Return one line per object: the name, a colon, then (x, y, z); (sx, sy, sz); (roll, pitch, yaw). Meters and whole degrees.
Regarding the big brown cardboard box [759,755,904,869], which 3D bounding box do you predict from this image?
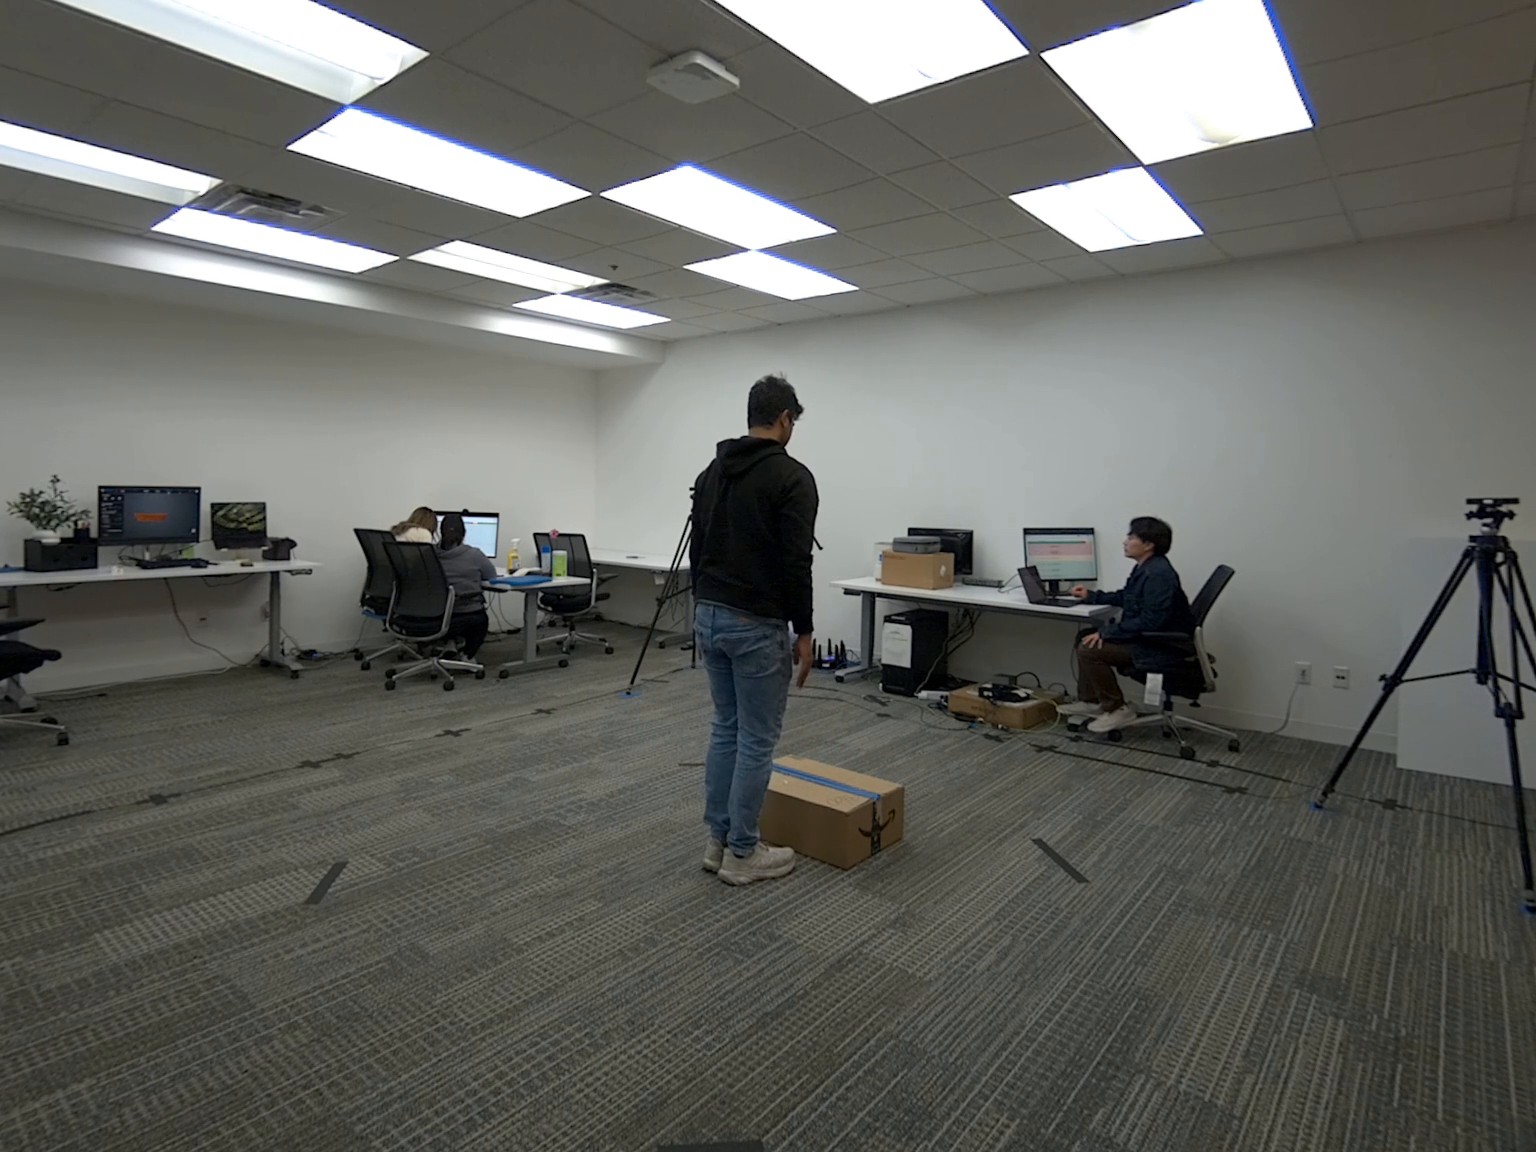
big brown cardboard box: (0.184, 0.929, 3.444); (0.609, 0.232, 0.405); (6, 7, 39)
